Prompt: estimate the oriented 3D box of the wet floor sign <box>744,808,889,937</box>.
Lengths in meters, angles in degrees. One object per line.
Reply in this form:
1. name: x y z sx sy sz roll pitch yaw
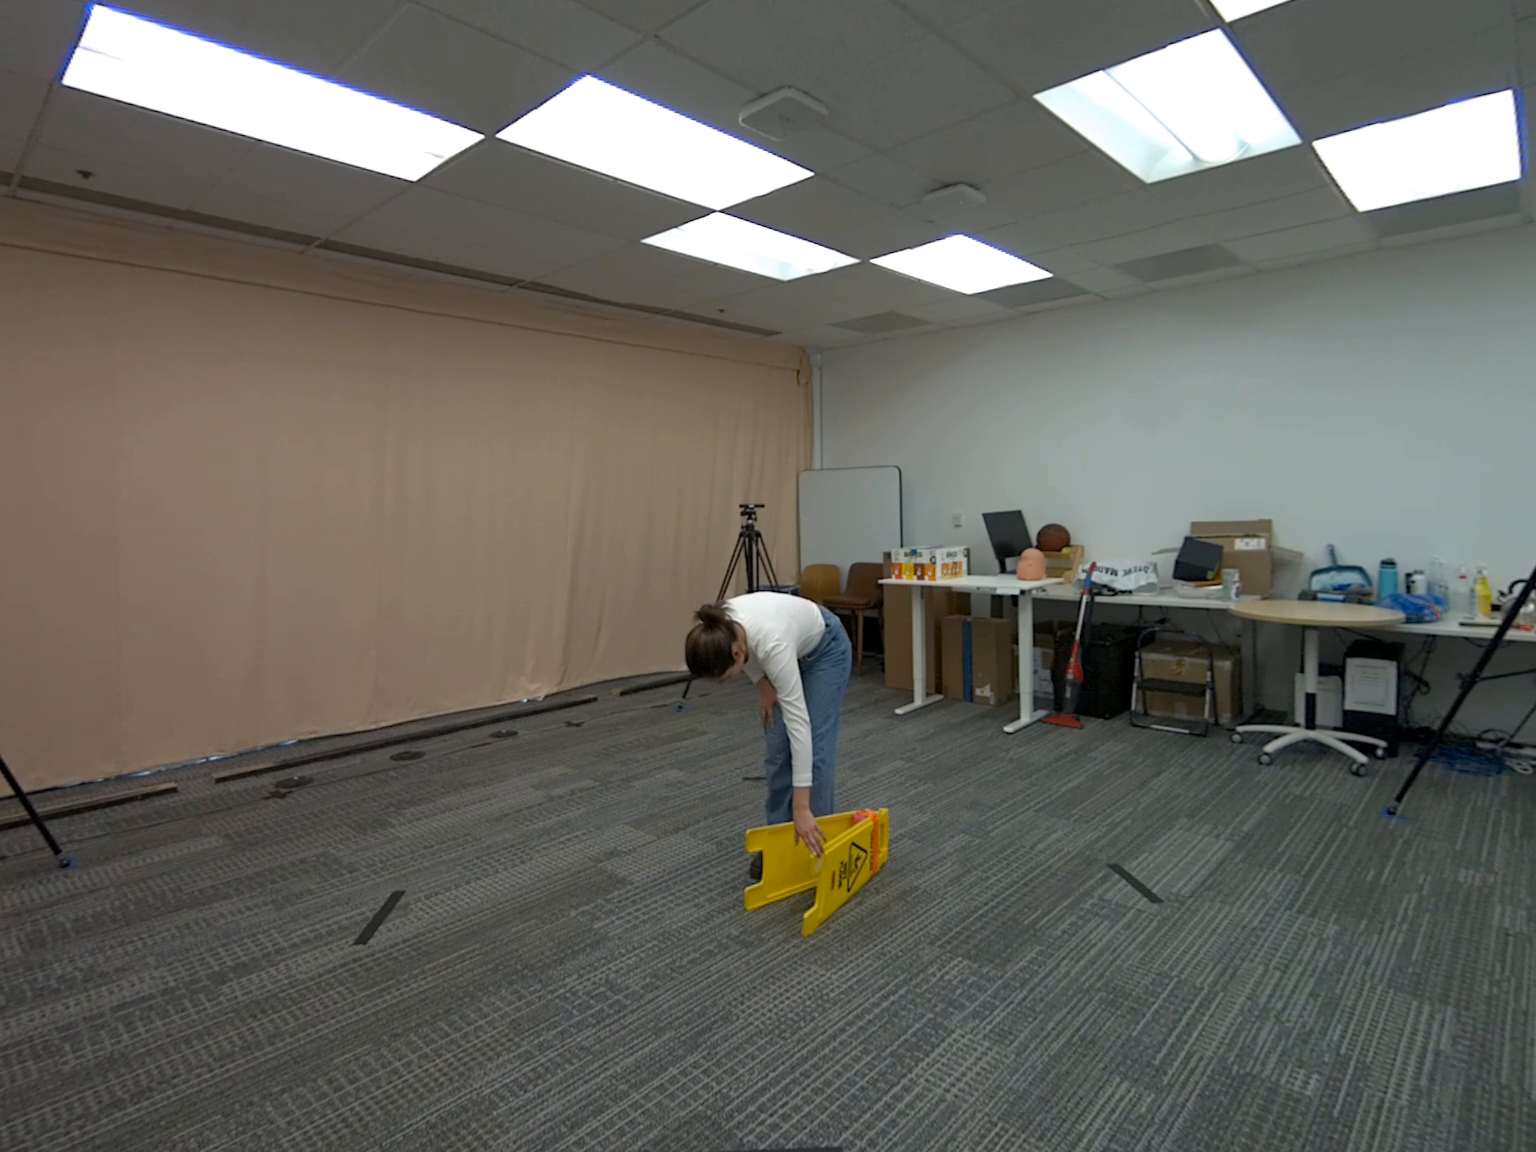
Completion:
1. wet floor sign: 0.242 1.001 3.009 0.300 0.281 0.626 6 7 44
